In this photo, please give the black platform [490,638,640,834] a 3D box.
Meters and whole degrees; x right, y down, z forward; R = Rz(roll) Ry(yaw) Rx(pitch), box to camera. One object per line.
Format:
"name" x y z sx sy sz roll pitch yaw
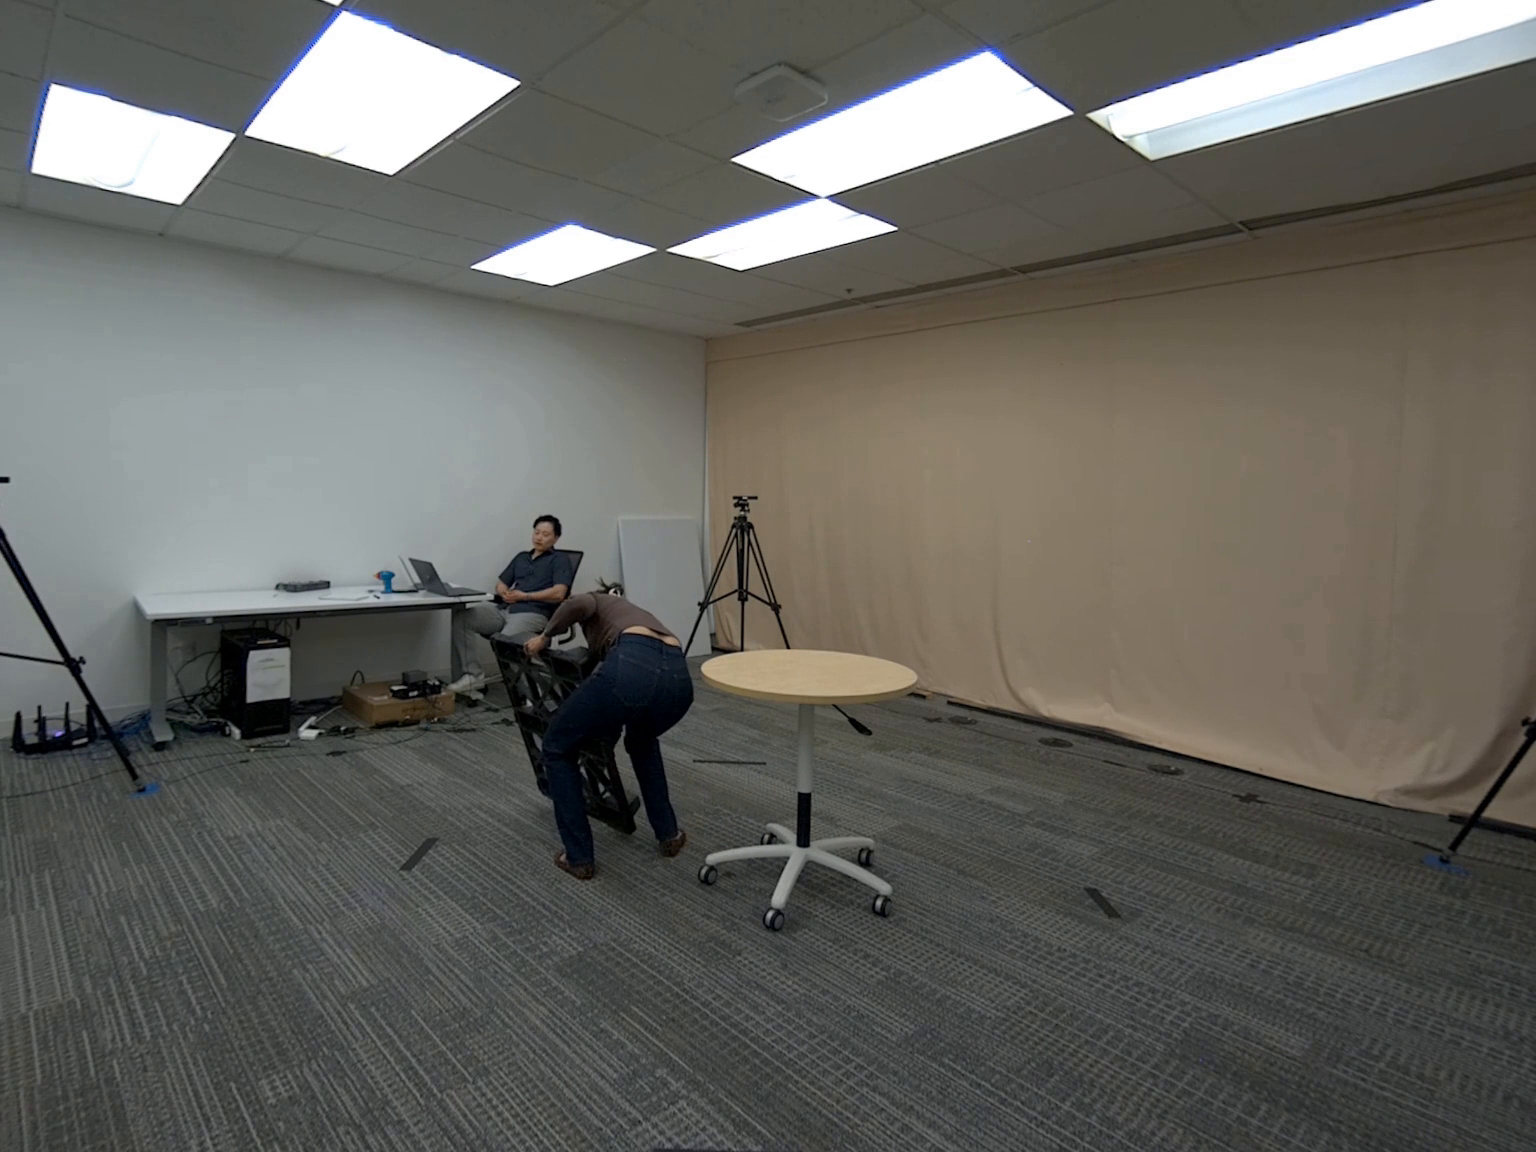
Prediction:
"black platform" -0.817 0.613 3.448 0.621 0.791 0.142 7 28 39
